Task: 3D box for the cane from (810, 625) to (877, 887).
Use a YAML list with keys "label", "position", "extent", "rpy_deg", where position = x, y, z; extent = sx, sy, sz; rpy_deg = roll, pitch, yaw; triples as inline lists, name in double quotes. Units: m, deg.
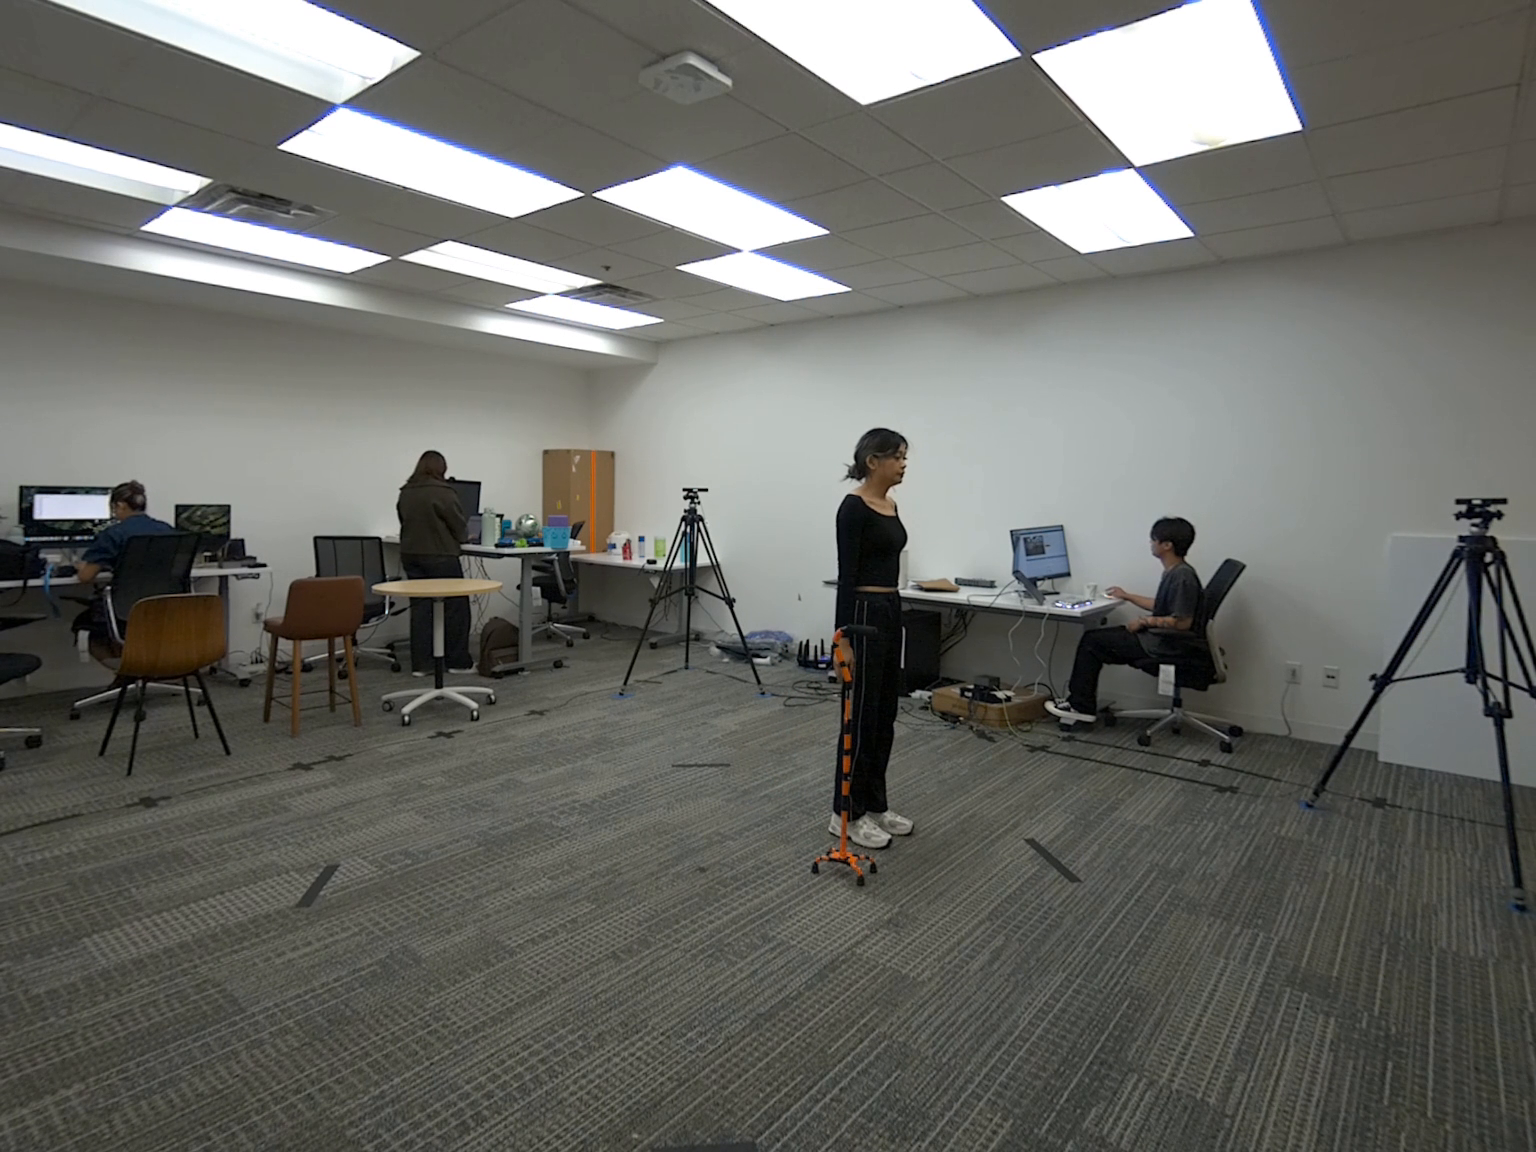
- label: "cane"
  position: [0.285, 0.626, 3.097]
  extent: [0.212, 0.906, 0.147]
  rpy_deg: [2, 2, 30]
